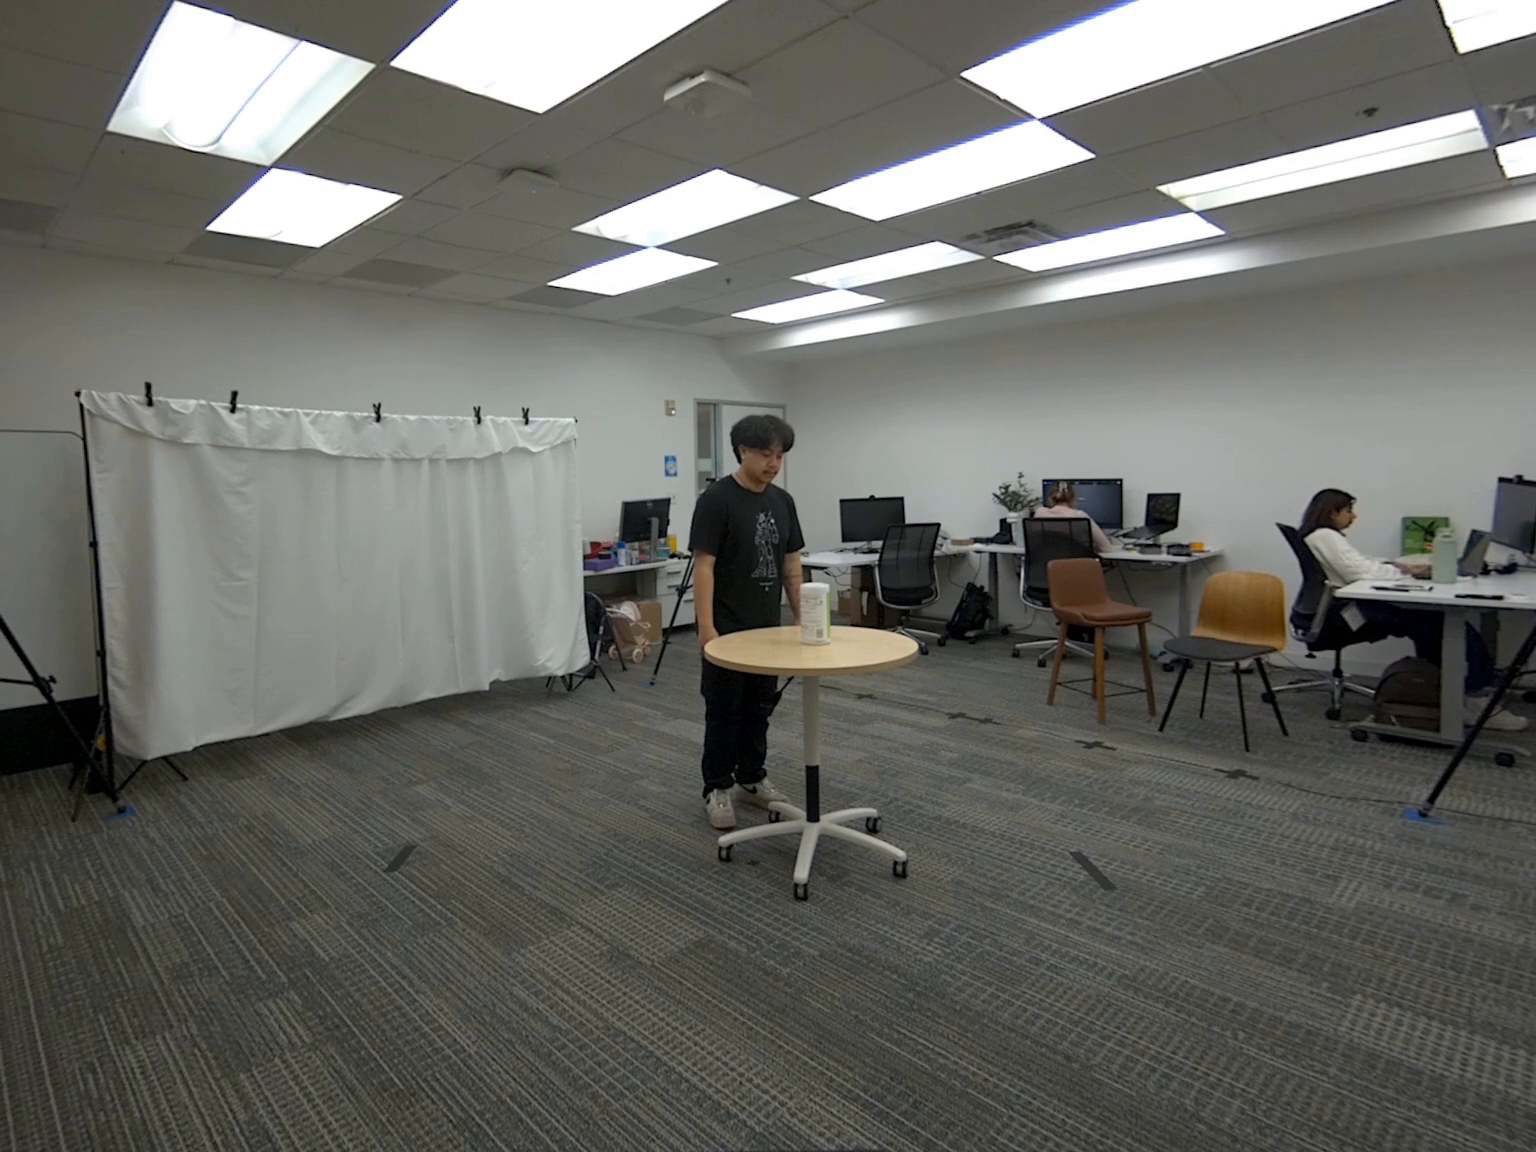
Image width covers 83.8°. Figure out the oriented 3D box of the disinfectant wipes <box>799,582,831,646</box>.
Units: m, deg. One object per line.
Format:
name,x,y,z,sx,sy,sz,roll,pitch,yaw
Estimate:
disinfectant wipes,0.169,0.141,3.118,0.118,0.217,0.118,0,4,-2
